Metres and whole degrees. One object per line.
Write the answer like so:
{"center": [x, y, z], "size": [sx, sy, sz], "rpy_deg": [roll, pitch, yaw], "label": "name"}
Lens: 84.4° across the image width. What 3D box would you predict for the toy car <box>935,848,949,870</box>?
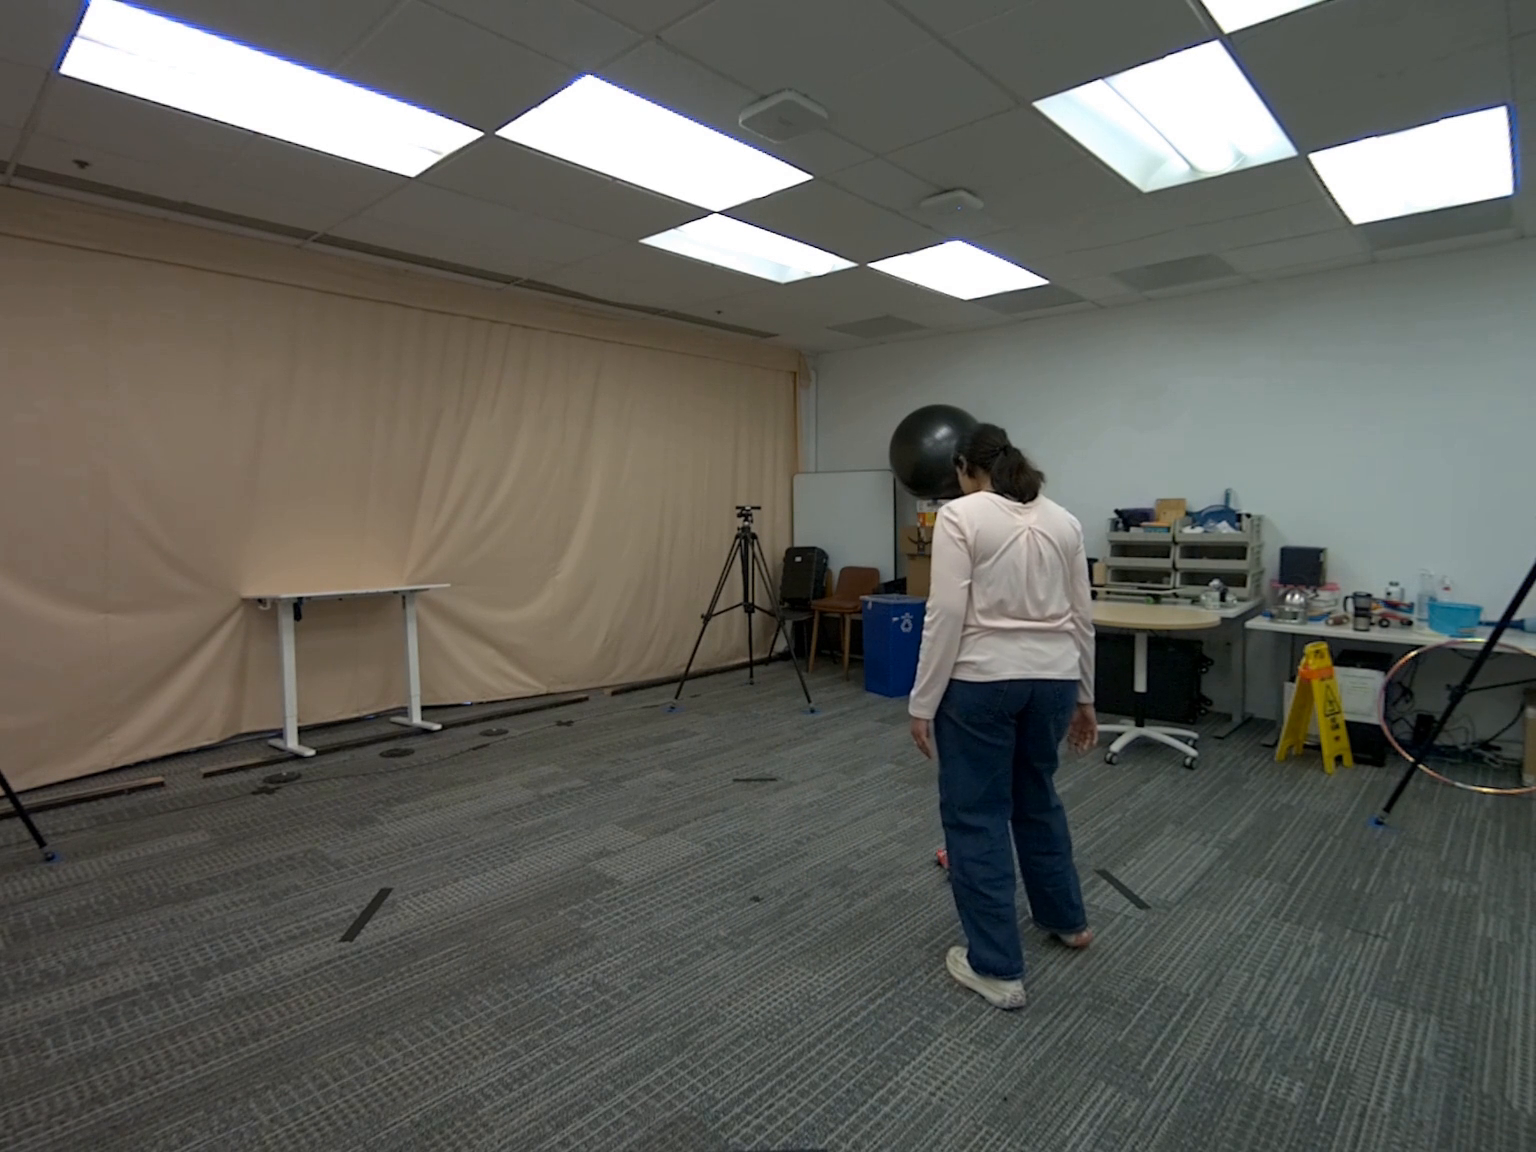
{"center": [0.731, 1.094, 3.176], "size": [0.130, 0.083, 0.254], "rpy_deg": [-2, -7, -5], "label": "toy car"}
